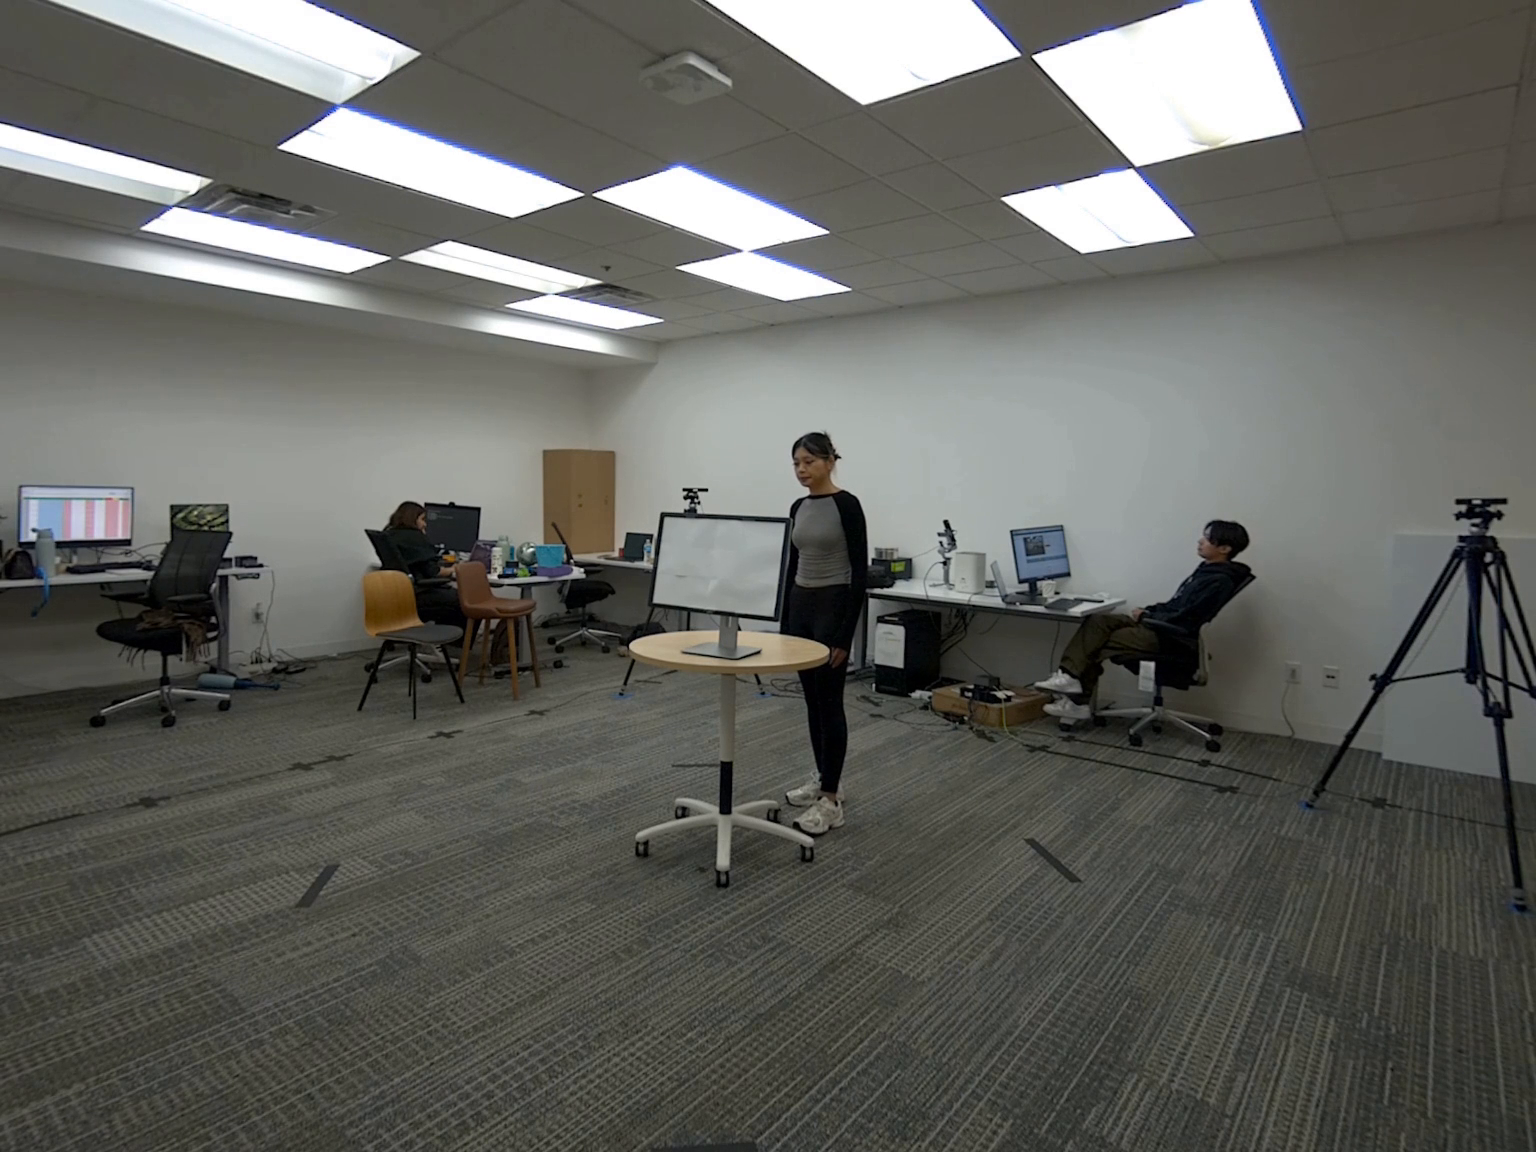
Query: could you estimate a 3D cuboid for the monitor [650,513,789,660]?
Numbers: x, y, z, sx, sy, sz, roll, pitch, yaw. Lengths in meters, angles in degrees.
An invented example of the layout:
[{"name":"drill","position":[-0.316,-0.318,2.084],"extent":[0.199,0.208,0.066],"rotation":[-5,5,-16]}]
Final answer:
[{"name":"monitor","position":[-0.180,0.035,3.114],"extent":[0.546,0.511,0.171],"rotation":[6,12,31]}]
